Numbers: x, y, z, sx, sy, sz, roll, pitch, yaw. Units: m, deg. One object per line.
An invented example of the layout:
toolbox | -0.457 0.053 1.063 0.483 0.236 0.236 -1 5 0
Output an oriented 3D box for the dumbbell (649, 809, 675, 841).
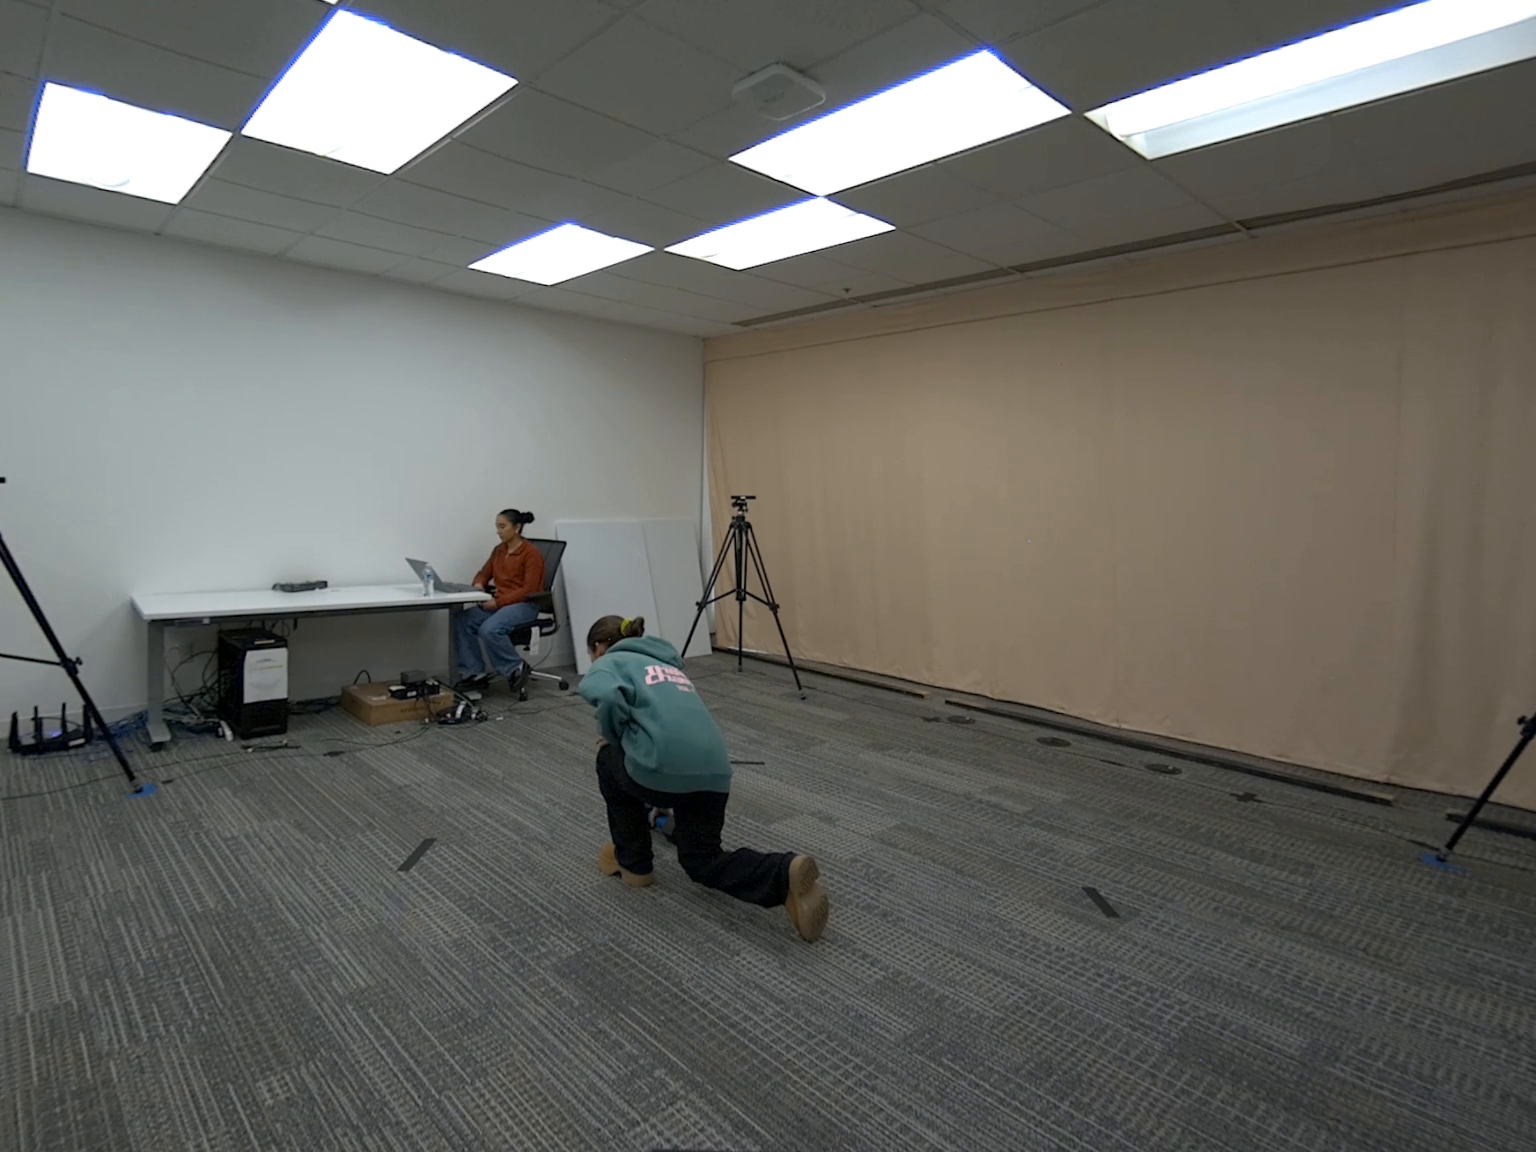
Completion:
dumbbell | -0.436 1.016 3.463 0.301 0.123 0.105 6 -26 49
